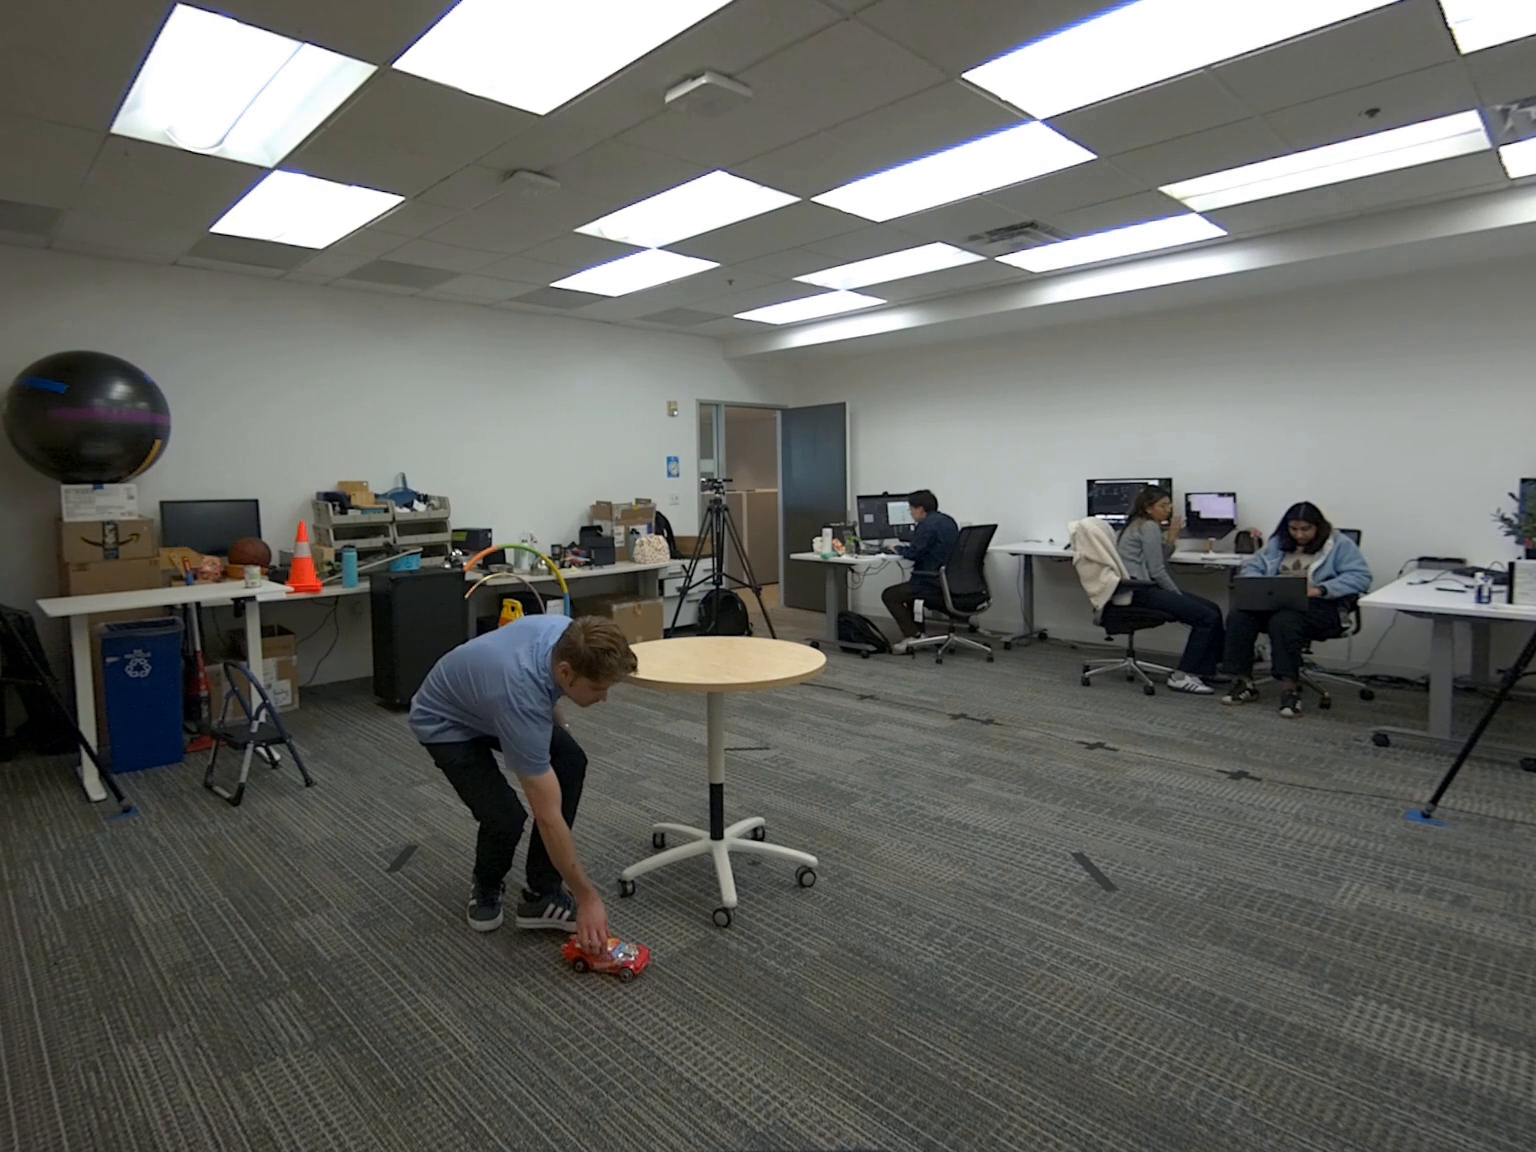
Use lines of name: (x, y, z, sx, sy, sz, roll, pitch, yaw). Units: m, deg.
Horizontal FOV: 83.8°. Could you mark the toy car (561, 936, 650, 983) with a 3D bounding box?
toy car: (-0.464, 1.097, 2.468, 0.259, 0.082, 0.129, 11, 10, 17)
